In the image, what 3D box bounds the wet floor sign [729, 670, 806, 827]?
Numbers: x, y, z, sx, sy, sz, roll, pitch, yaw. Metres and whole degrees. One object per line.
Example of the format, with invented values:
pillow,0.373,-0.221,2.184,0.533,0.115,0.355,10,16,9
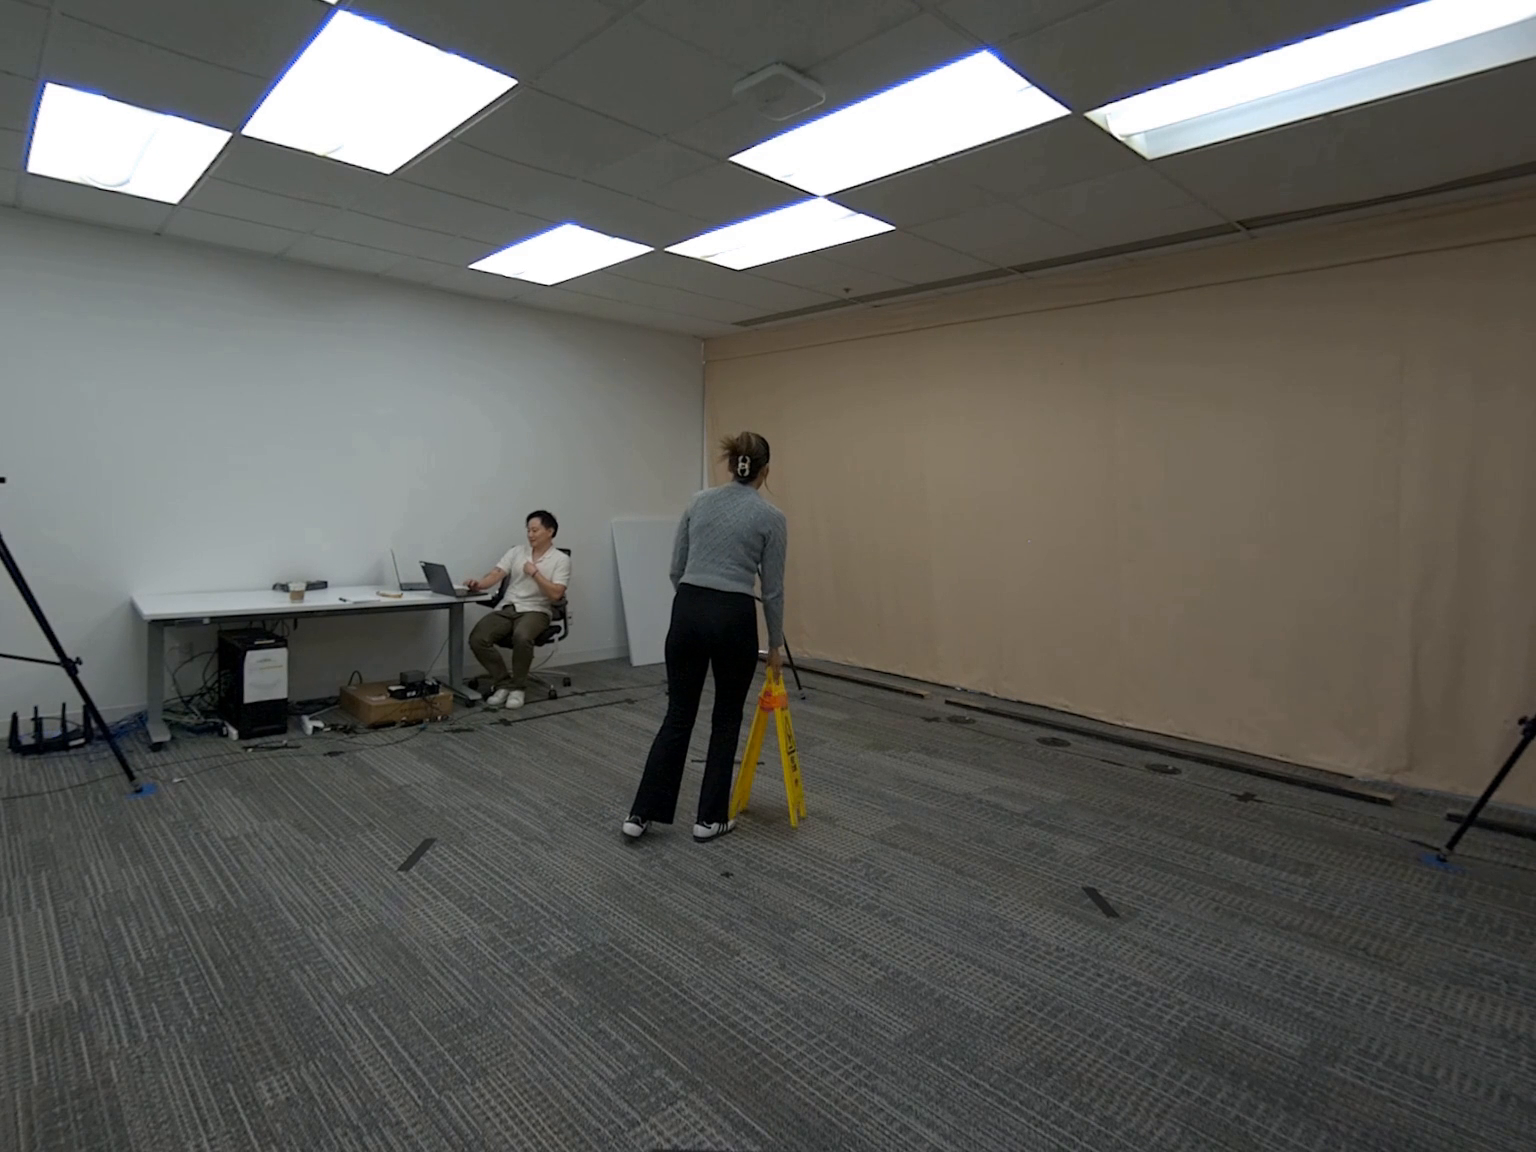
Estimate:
wet floor sign,0.010,0.714,3.650,0.293,0.648,0.278,2,-4,13
